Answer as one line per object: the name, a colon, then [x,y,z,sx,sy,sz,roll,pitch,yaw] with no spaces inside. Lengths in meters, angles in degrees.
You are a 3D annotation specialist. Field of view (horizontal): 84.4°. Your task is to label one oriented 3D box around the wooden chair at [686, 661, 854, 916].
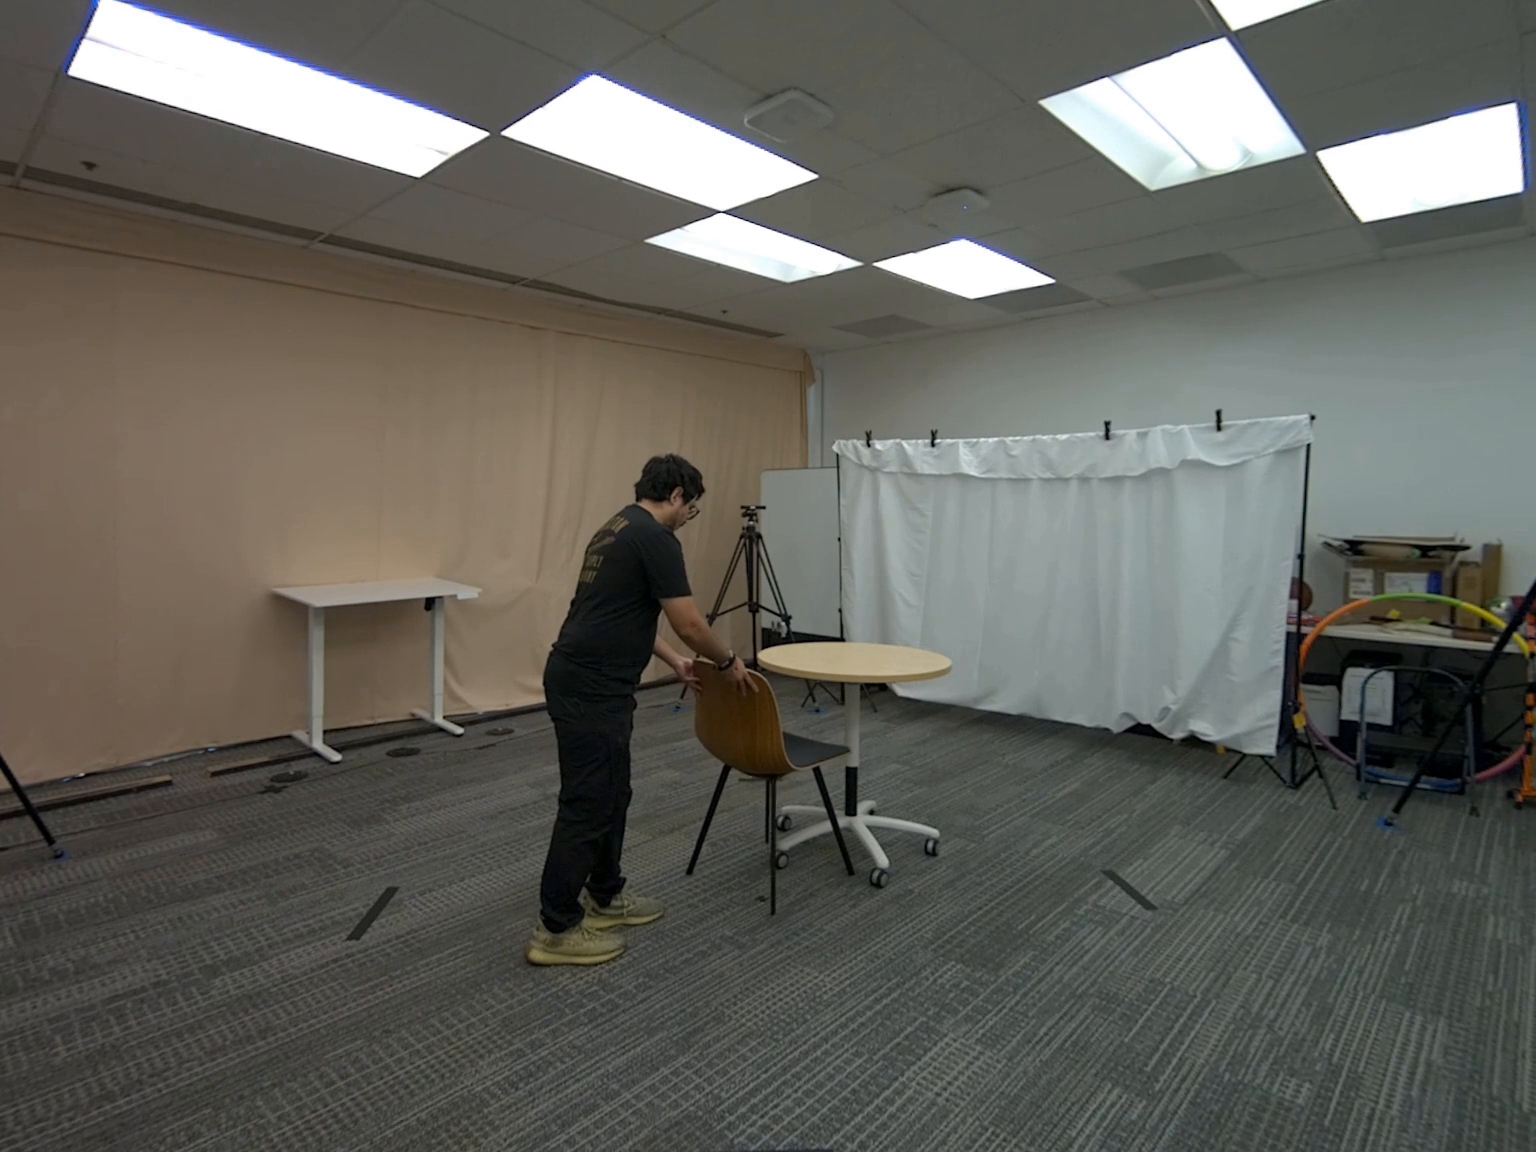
wooden chair: [0.015,0.700,3.147,0.494,0.874,0.508,3,9,45]
